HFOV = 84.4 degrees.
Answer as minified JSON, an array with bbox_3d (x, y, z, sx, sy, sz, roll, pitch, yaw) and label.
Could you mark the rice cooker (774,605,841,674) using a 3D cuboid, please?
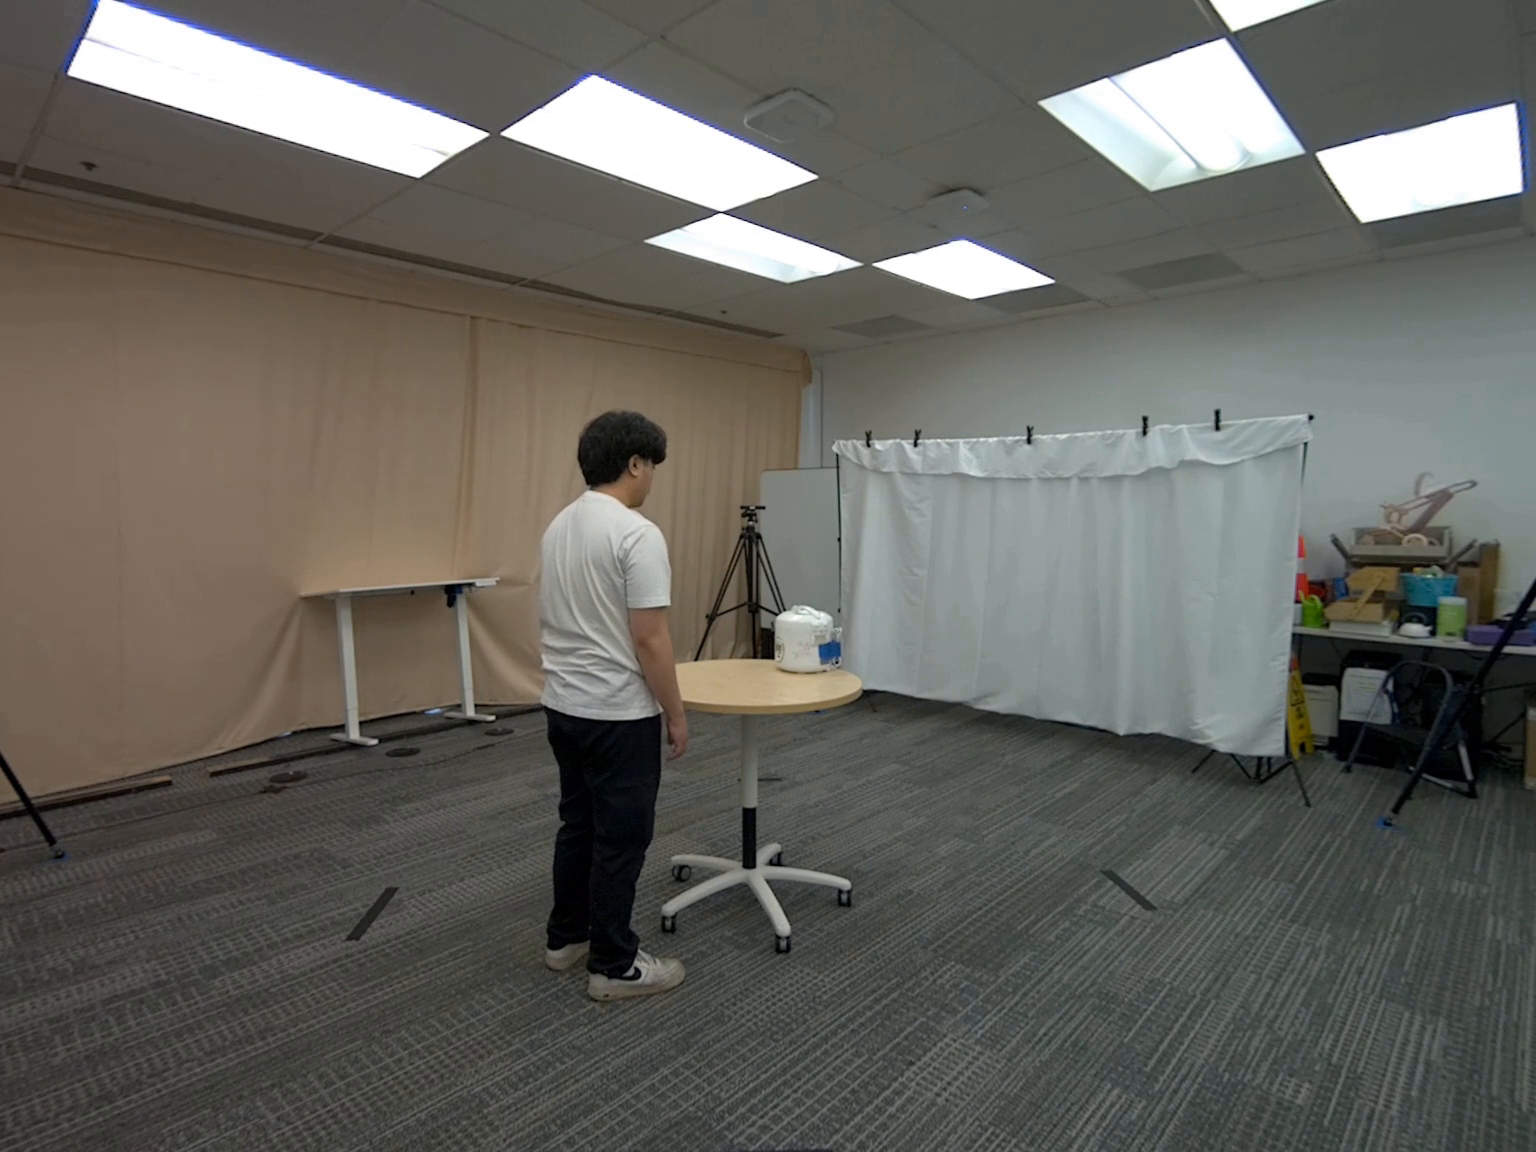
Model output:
[{"bbox_3d":[0.135,0.226,3.061,0.212,0.232,0.227,1,3,-28],"label":"rice cooker"}]
